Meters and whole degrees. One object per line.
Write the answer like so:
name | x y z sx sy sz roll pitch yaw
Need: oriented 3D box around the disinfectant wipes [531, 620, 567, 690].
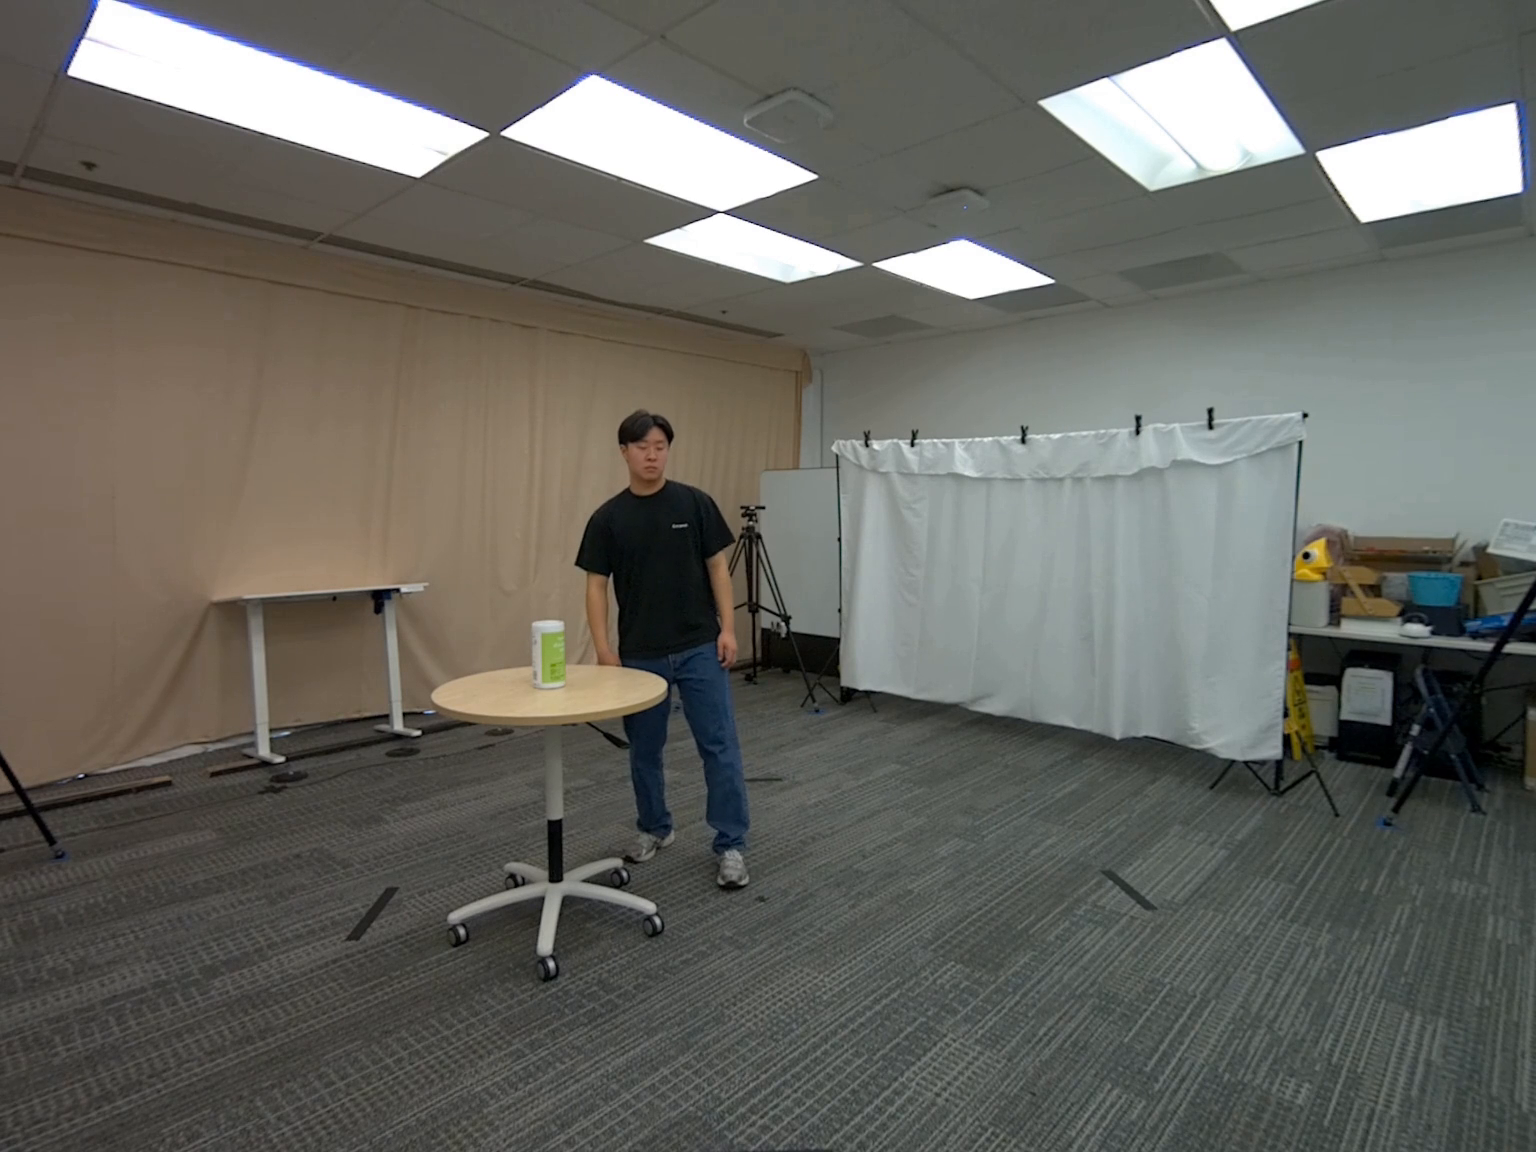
disinfectant wipes | -0.739 0.260 2.807 0.118 0.217 0.118 1 4 -2
